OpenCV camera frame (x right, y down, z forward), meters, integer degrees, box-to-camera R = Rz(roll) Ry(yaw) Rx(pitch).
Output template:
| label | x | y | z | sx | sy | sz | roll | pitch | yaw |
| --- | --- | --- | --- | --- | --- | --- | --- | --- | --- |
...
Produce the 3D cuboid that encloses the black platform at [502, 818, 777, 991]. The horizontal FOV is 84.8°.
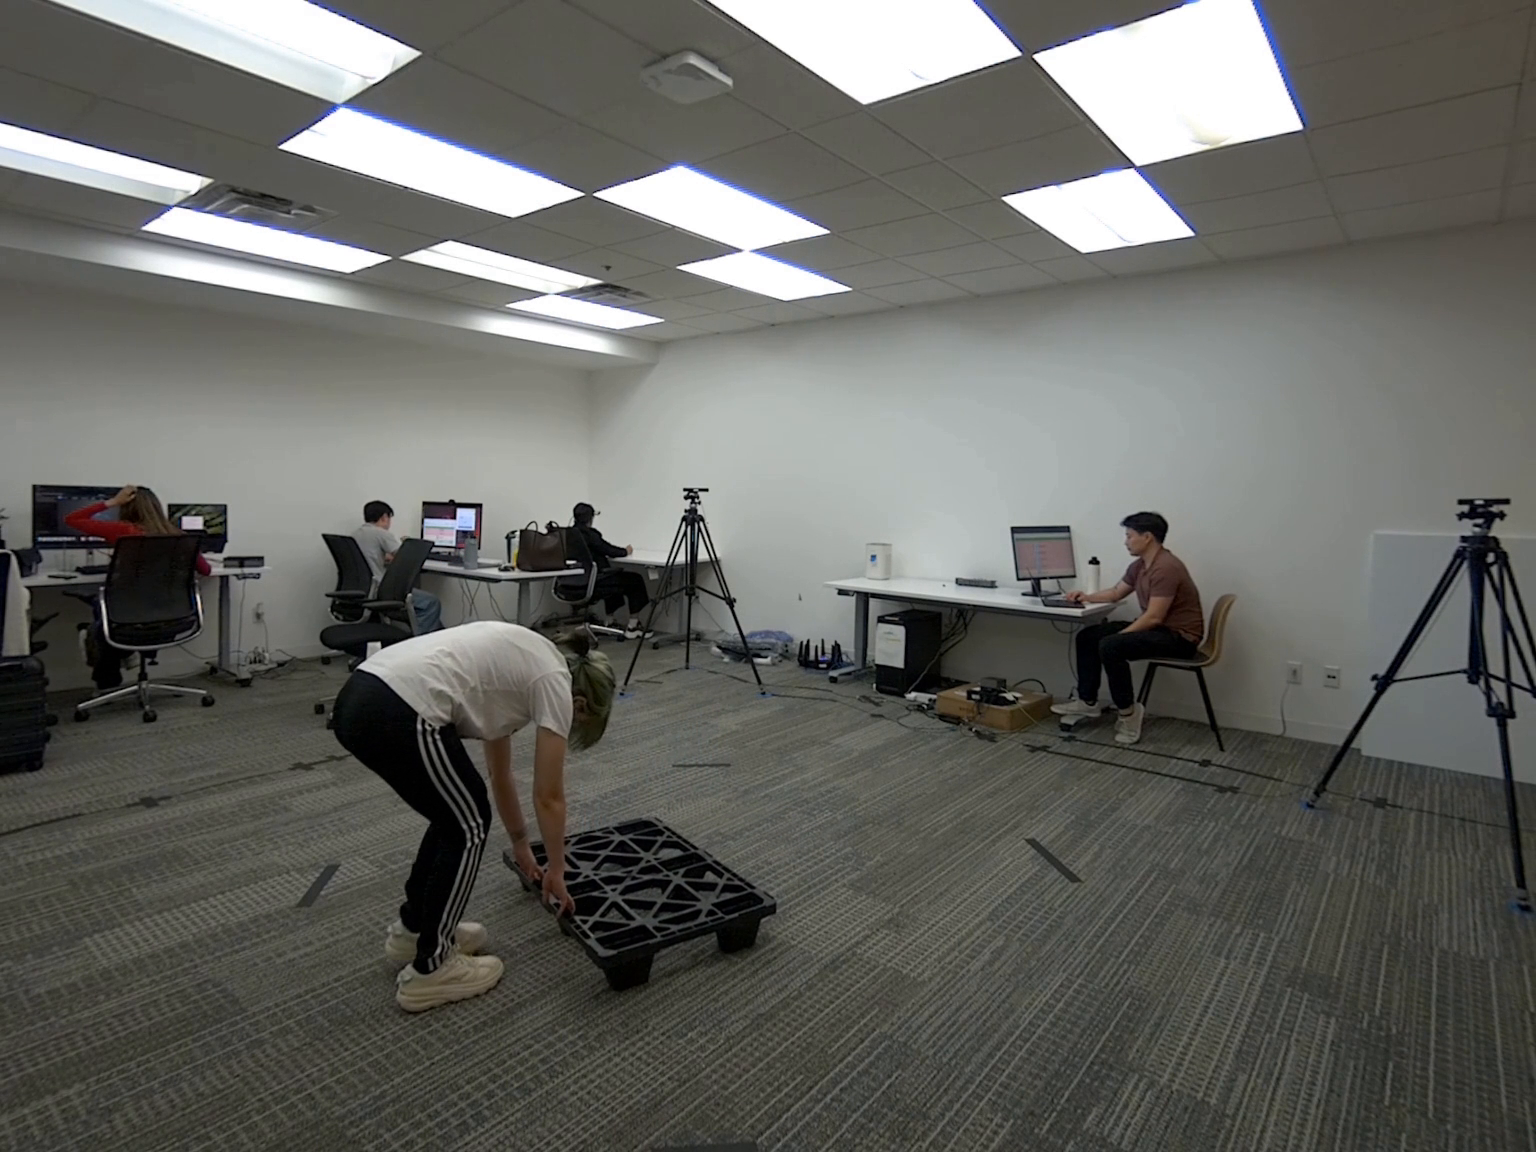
| label | x | y | z | sx | sy | sz | roll | pitch | yaw |
| --- | --- | --- | --- | --- | --- | --- | --- | --- | --- |
| black platform | -0.452 | 1.033 | 2.762 | 0.588 | 0.143 | 0.832 | -4 | 7 | -35 |
